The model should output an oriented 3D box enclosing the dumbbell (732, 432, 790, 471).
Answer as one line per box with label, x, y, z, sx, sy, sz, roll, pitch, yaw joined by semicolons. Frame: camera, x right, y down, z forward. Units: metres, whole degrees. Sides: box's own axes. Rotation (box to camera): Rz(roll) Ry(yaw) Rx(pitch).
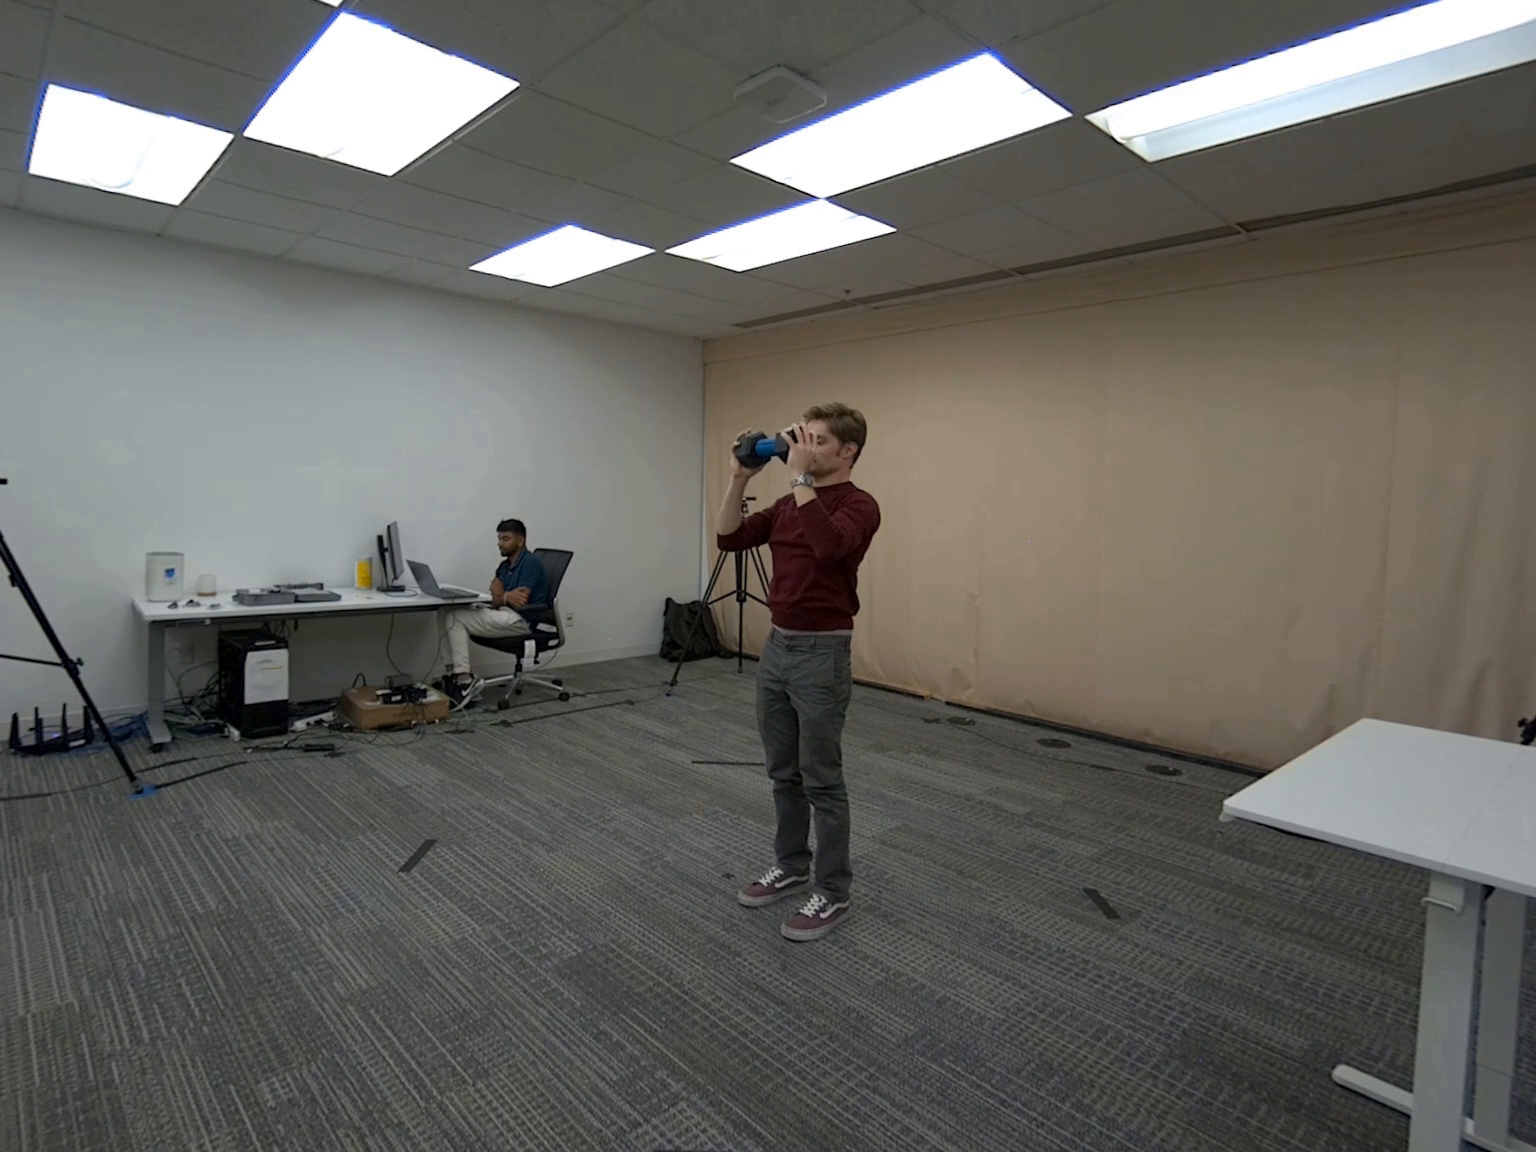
dumbbell;0.021;-0.414;2.715;0.106;0.123;0.300;11;-4;-34
